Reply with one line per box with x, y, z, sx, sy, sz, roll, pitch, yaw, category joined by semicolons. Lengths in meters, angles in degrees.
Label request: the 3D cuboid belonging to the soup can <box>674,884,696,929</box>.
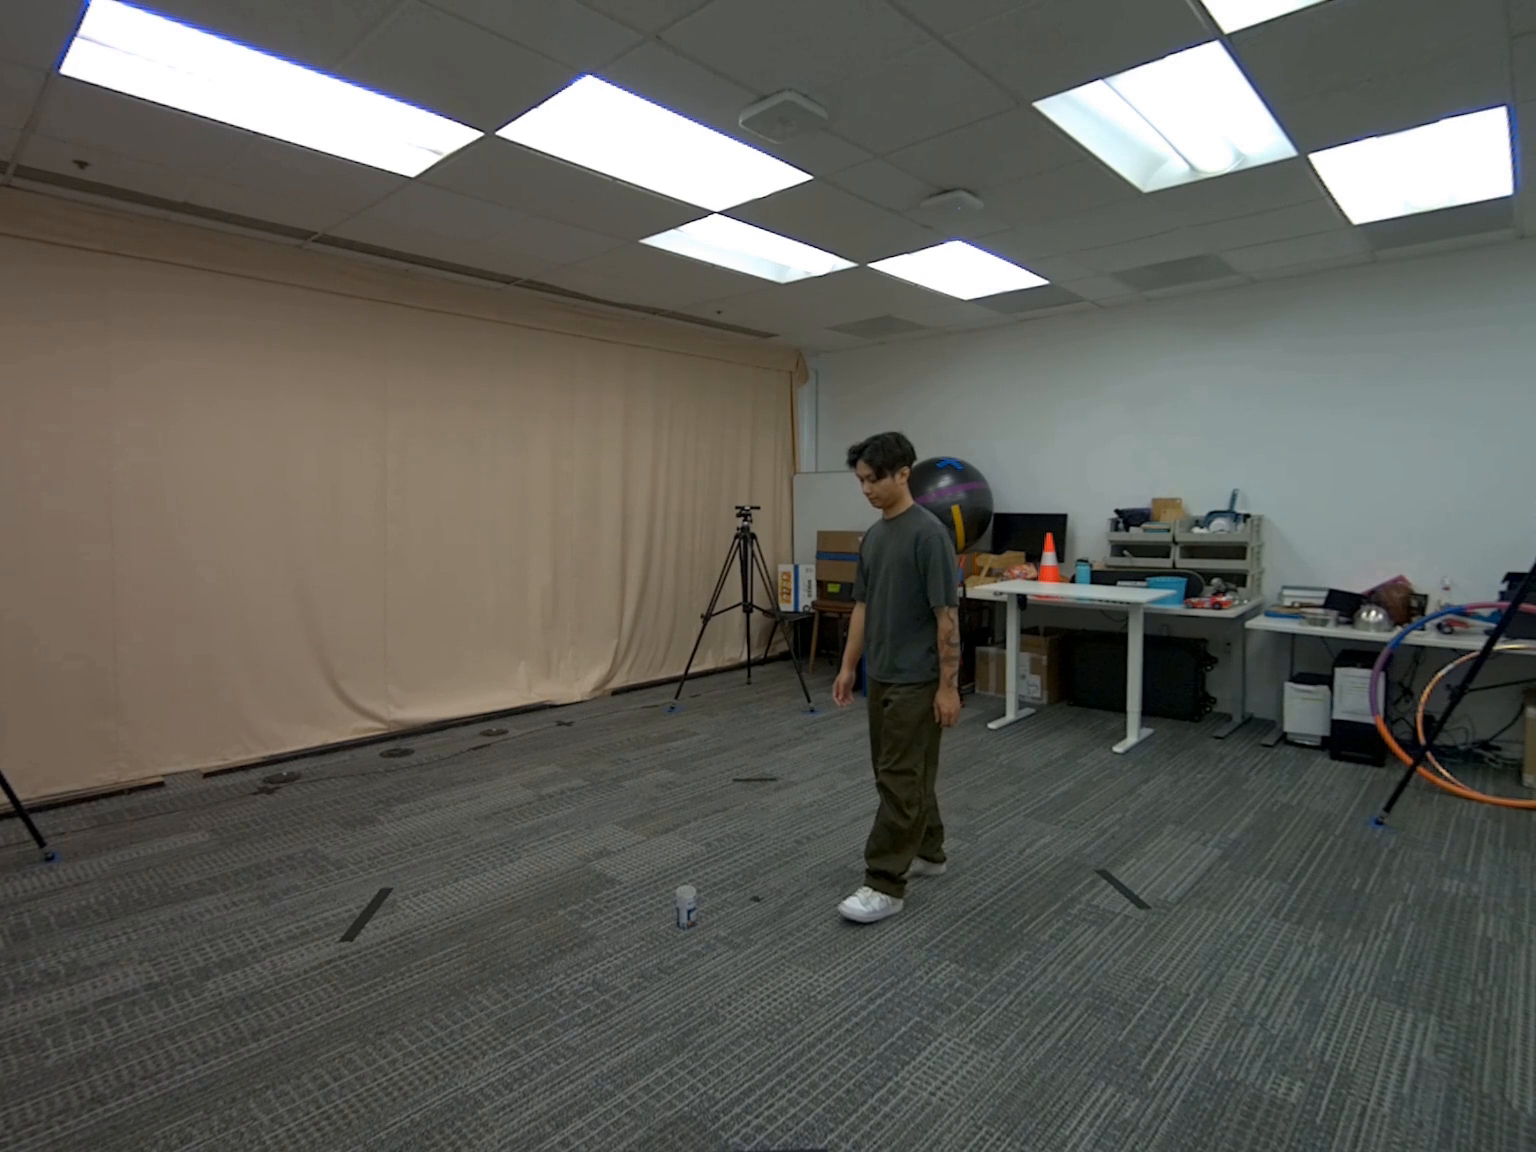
-0.269;1.108;2.798;0.067;0.121;0.067;-2;1;-2;soup can
